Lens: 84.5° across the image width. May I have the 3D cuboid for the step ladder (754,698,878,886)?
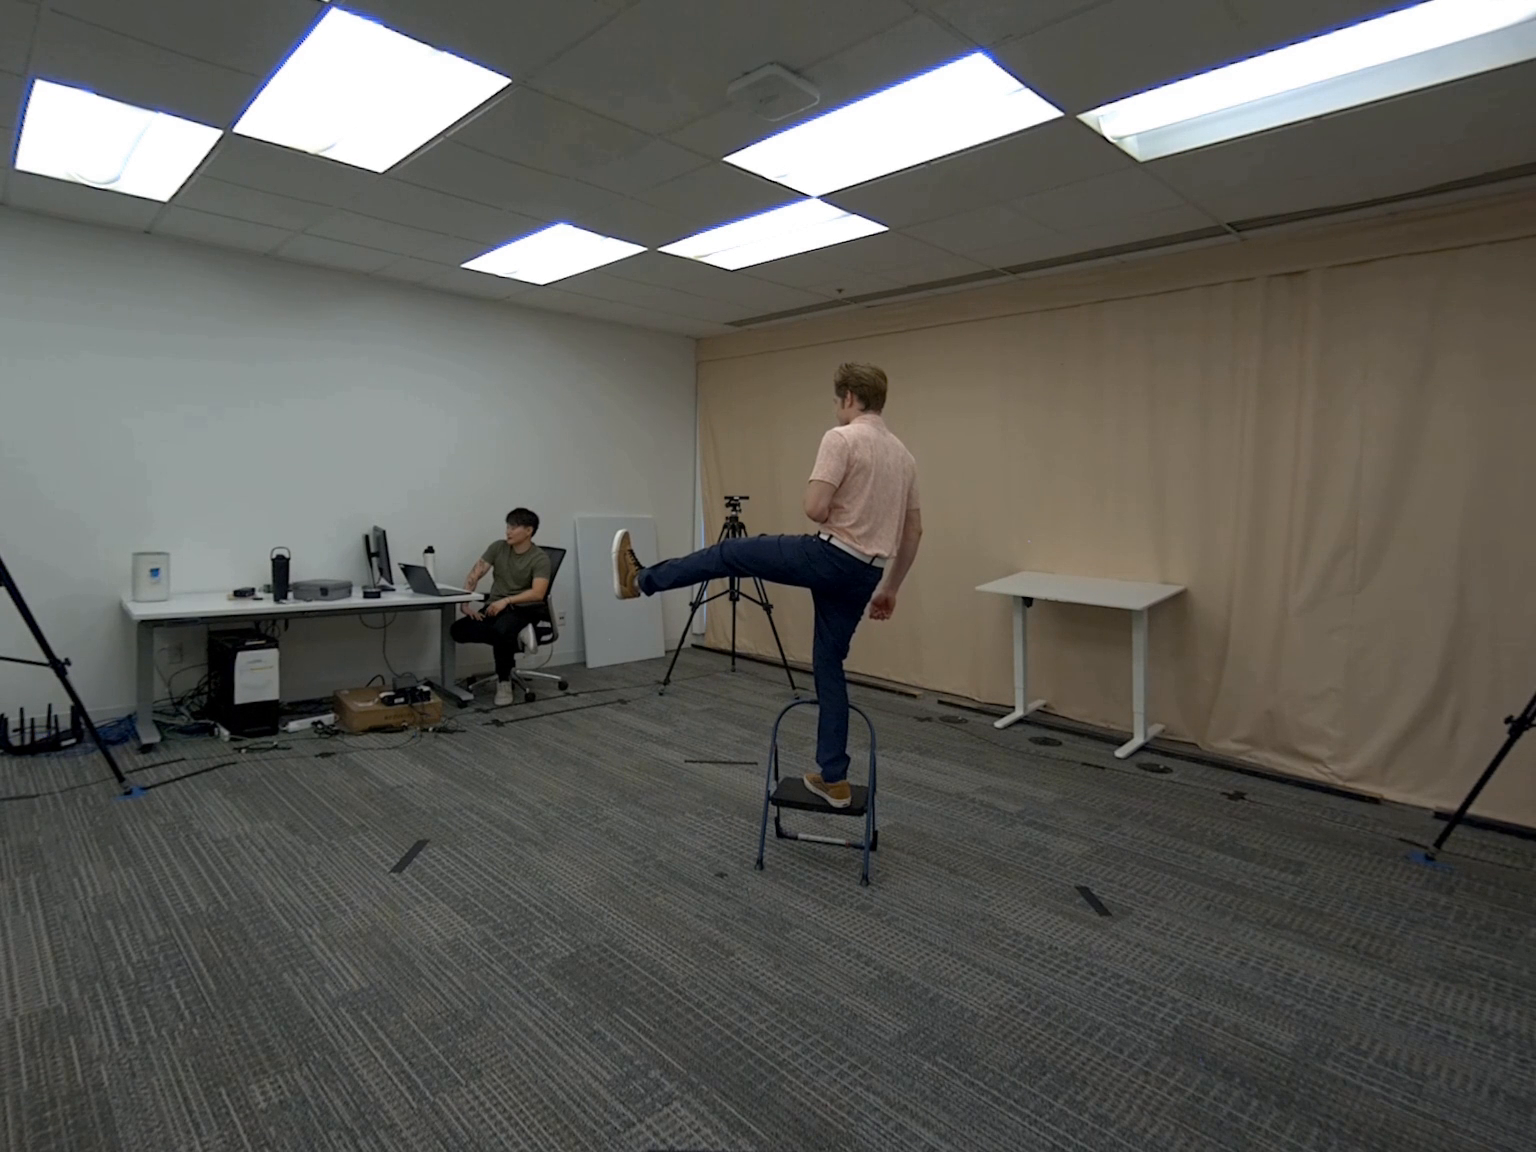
[{"bbox_3d":[0.202,0.800,3.252,0.436,0.605,0.346,3,3,15],"label":"step ladder"}]
